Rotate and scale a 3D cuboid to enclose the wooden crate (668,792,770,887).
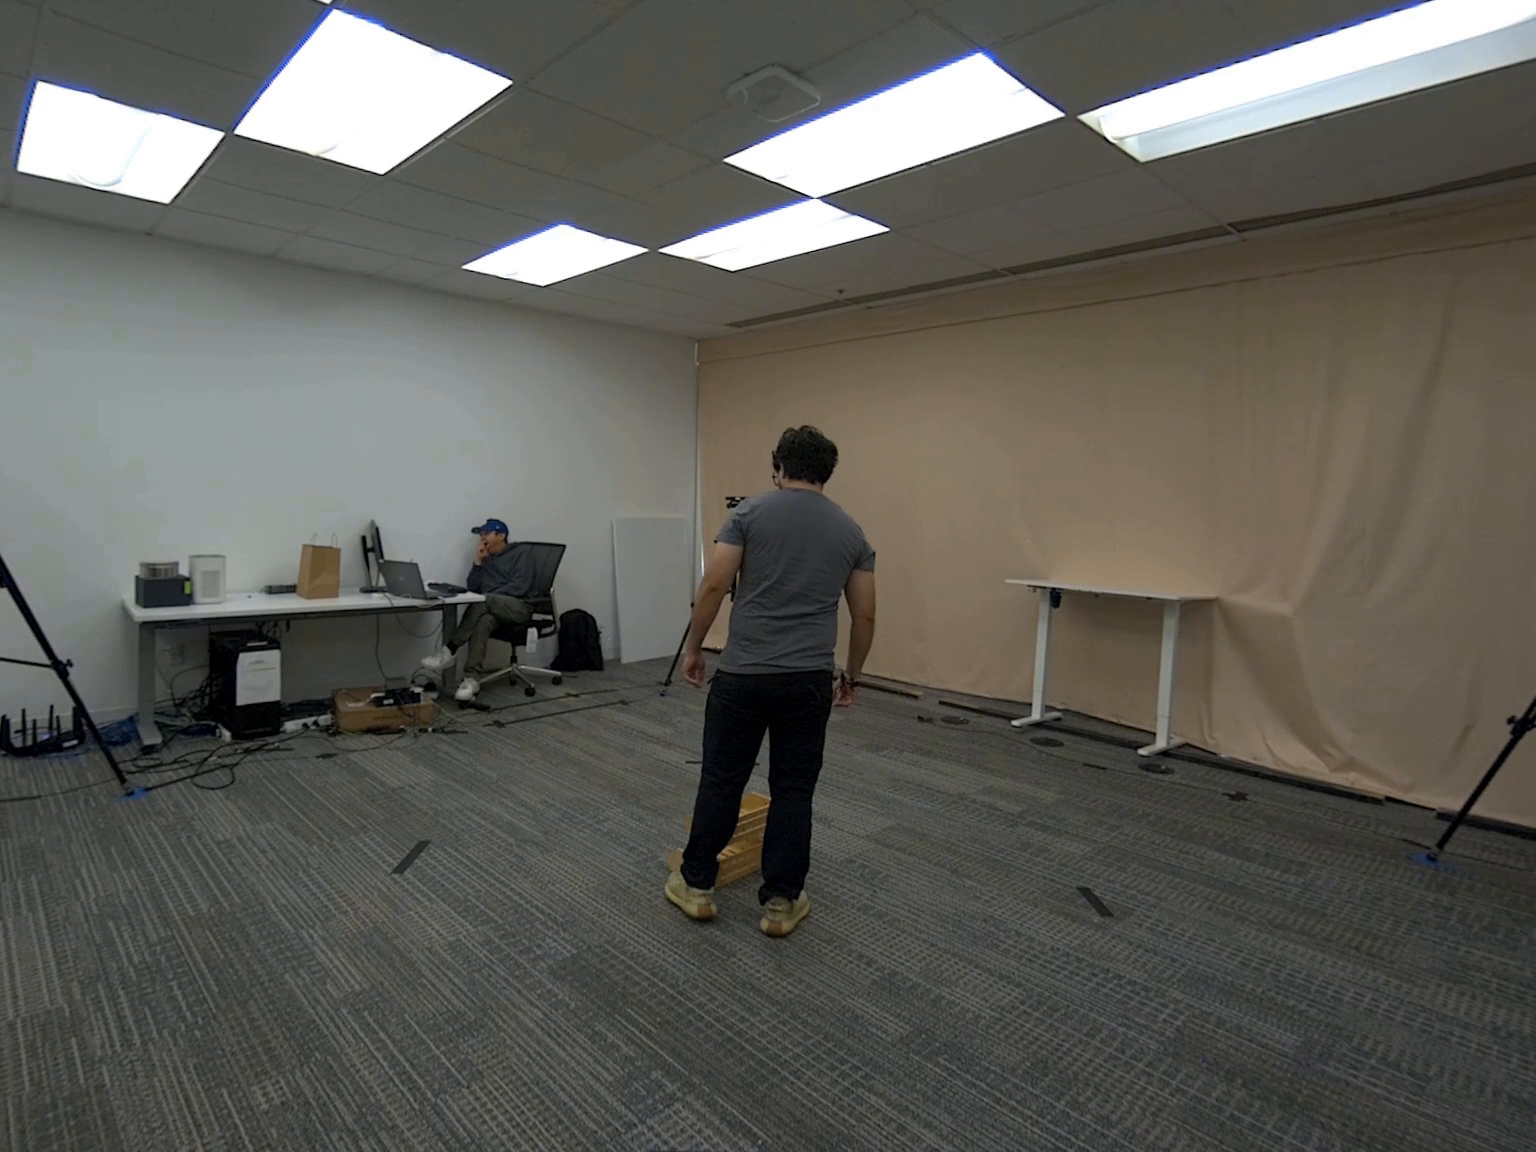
[{"bbox_3d":[-0.176,0.970,3.156,0.310,0.272,0.317,6,7,43],"label":"wooden crate"}]
